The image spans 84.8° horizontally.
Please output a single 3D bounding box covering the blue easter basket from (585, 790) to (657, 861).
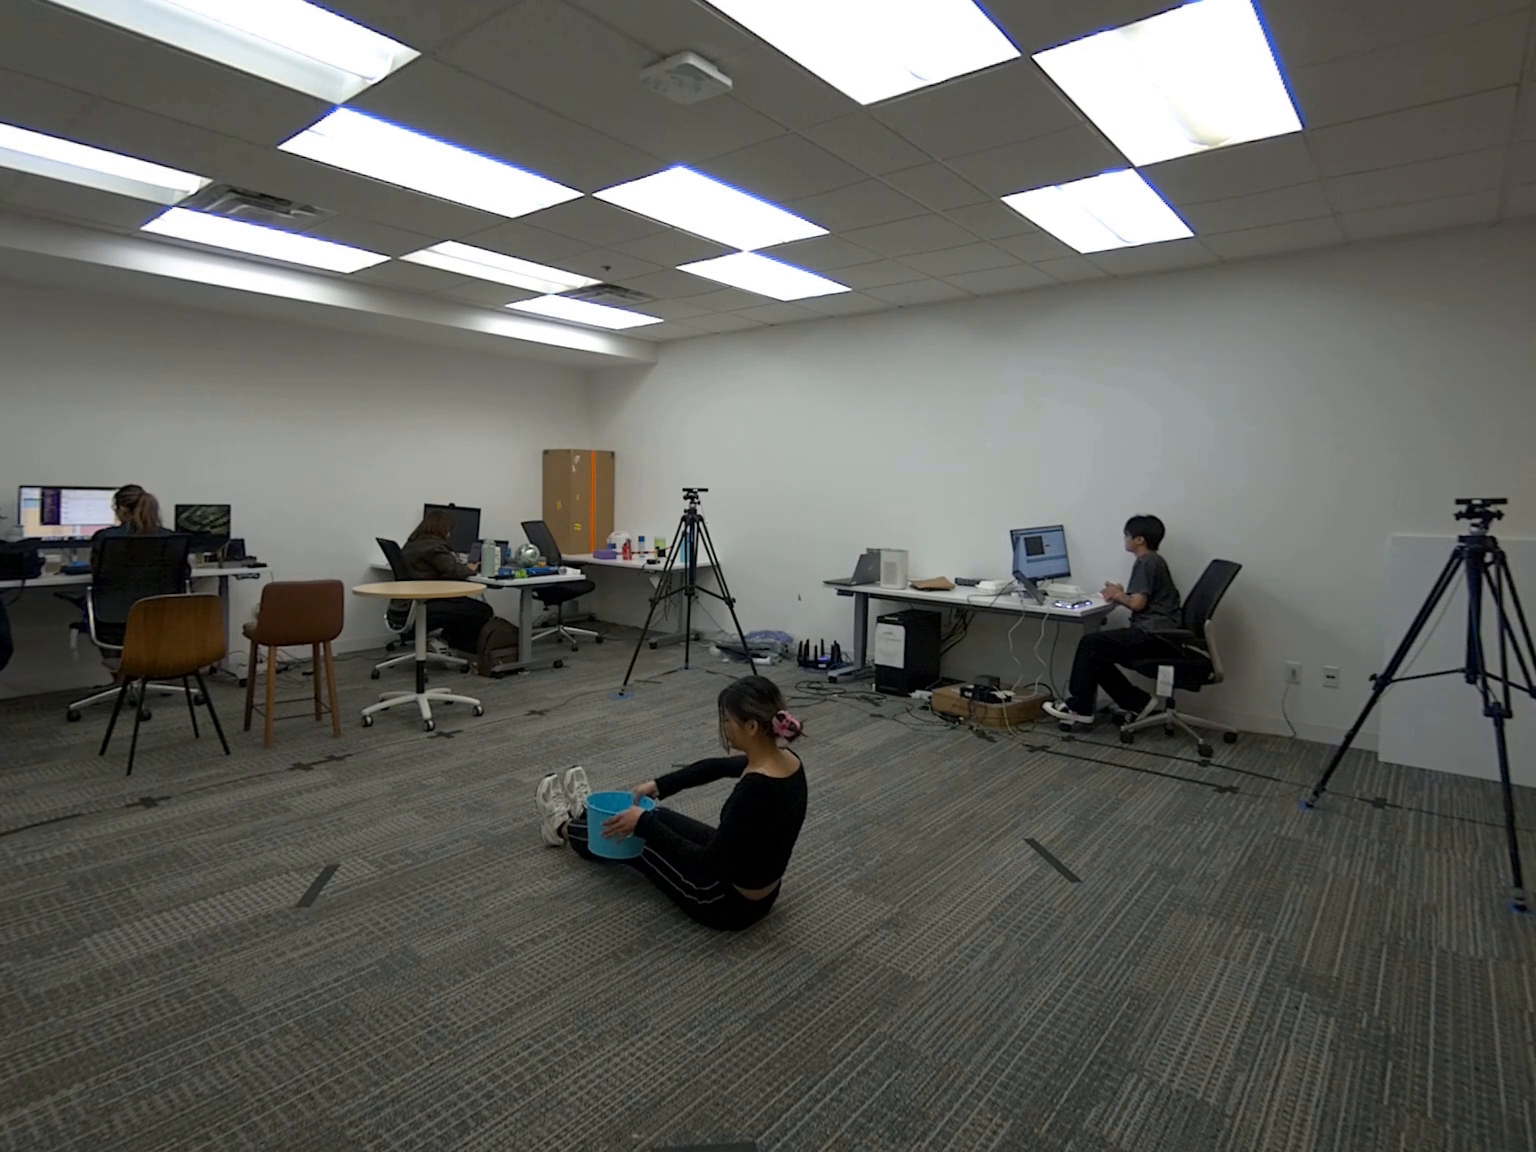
[{"bbox_3d":[-0.495,0.811,2.792,0.243,0.156,0.244,5,2,-2],"label":"blue easter basket"}]
